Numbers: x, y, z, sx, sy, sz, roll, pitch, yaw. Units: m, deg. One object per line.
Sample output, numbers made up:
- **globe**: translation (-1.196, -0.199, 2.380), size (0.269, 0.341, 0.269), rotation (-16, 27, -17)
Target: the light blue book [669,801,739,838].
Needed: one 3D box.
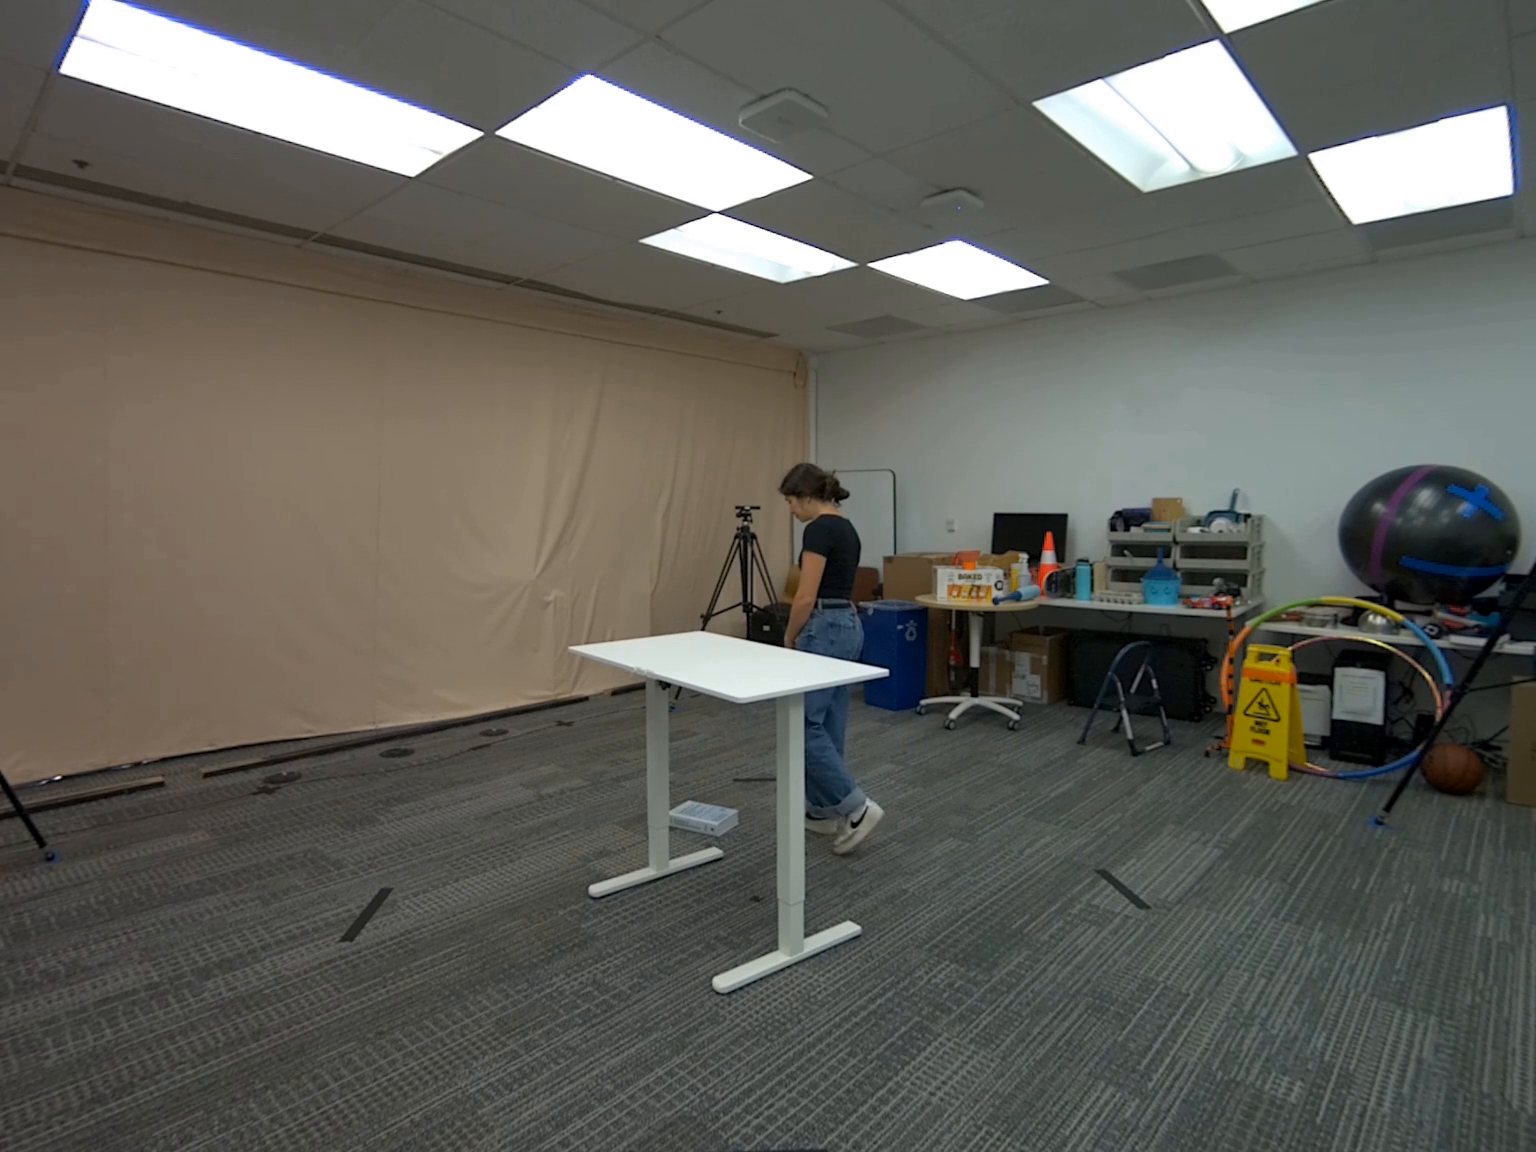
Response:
- **light blue book**: translation (-0.290, 1.061, 3.686), size (0.268, 0.059, 0.186), rotation (2, 4, 29)
